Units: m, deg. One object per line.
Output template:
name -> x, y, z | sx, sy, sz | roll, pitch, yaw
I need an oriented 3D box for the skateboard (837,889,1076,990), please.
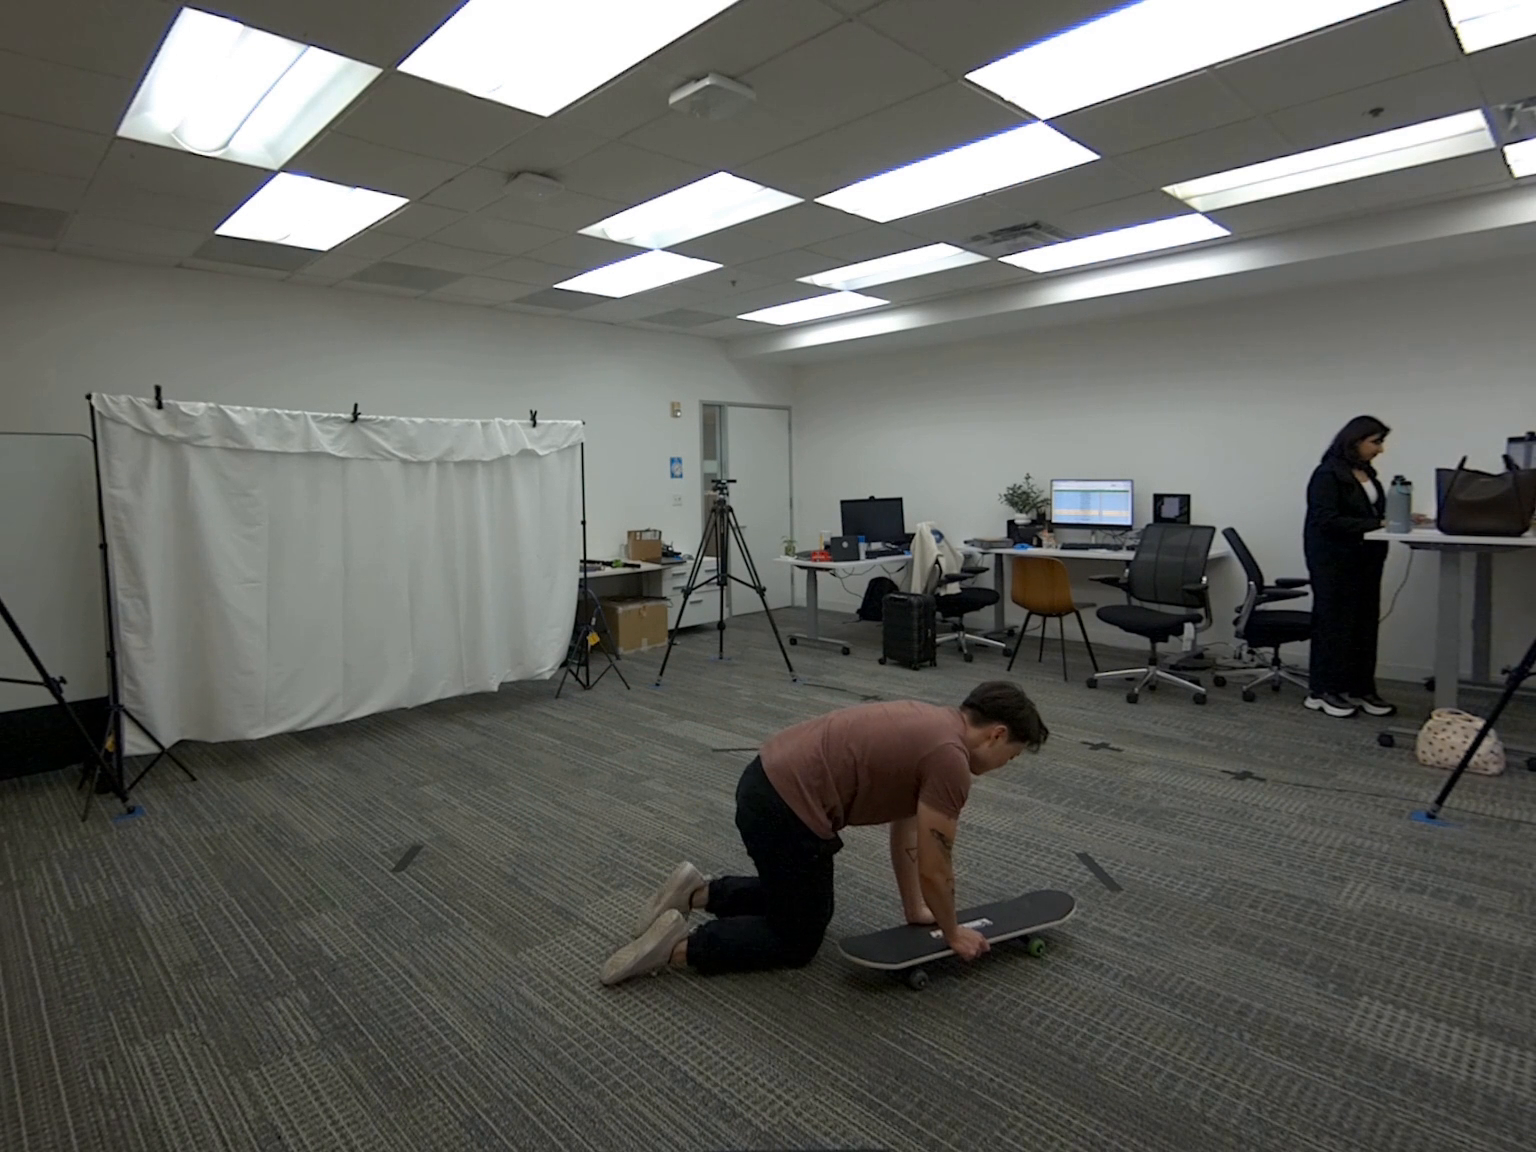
skateboard -> 0.560, 1.047, 2.477 | 0.772, 0.110, 0.197 | -4, 2, -20
